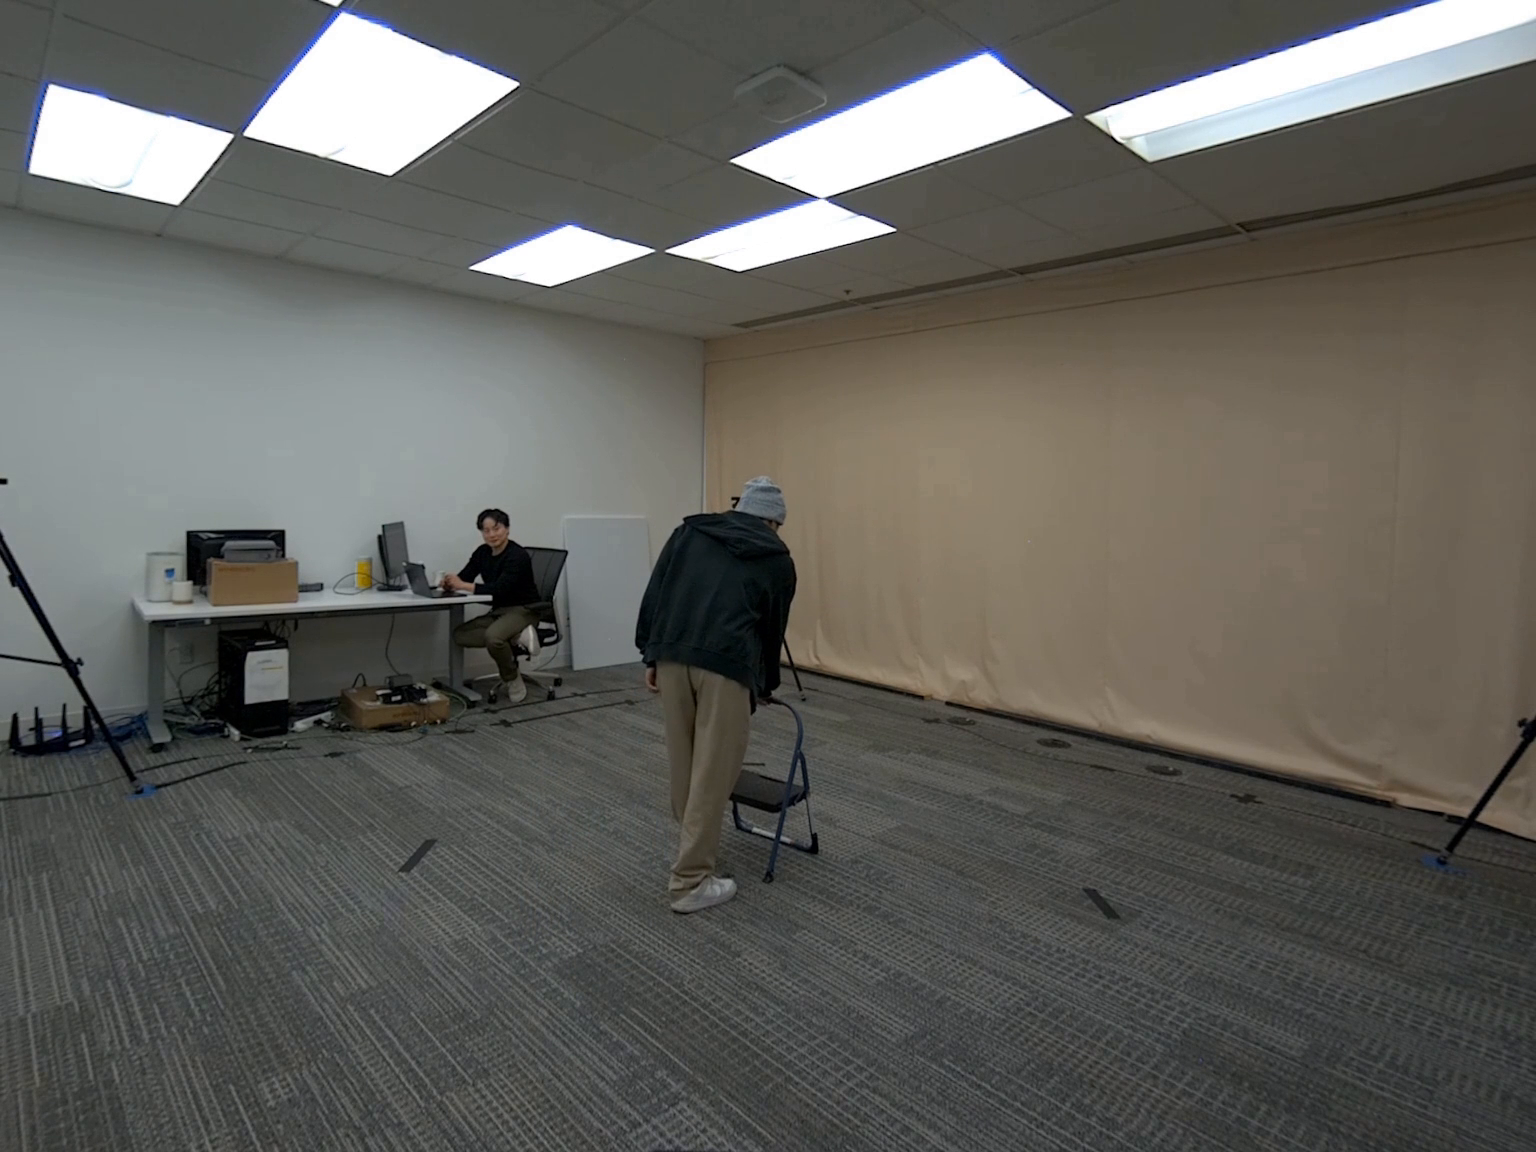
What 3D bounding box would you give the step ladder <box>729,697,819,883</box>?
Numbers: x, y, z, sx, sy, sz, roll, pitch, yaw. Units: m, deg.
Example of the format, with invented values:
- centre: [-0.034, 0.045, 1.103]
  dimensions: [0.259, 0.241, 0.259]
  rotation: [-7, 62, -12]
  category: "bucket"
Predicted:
- centre: [-0.059, 0.788, 3.306]
  dimensions: [0.441, 0.605, 0.341]
  rotation: [4, 4, 38]
  category: "step ladder"
